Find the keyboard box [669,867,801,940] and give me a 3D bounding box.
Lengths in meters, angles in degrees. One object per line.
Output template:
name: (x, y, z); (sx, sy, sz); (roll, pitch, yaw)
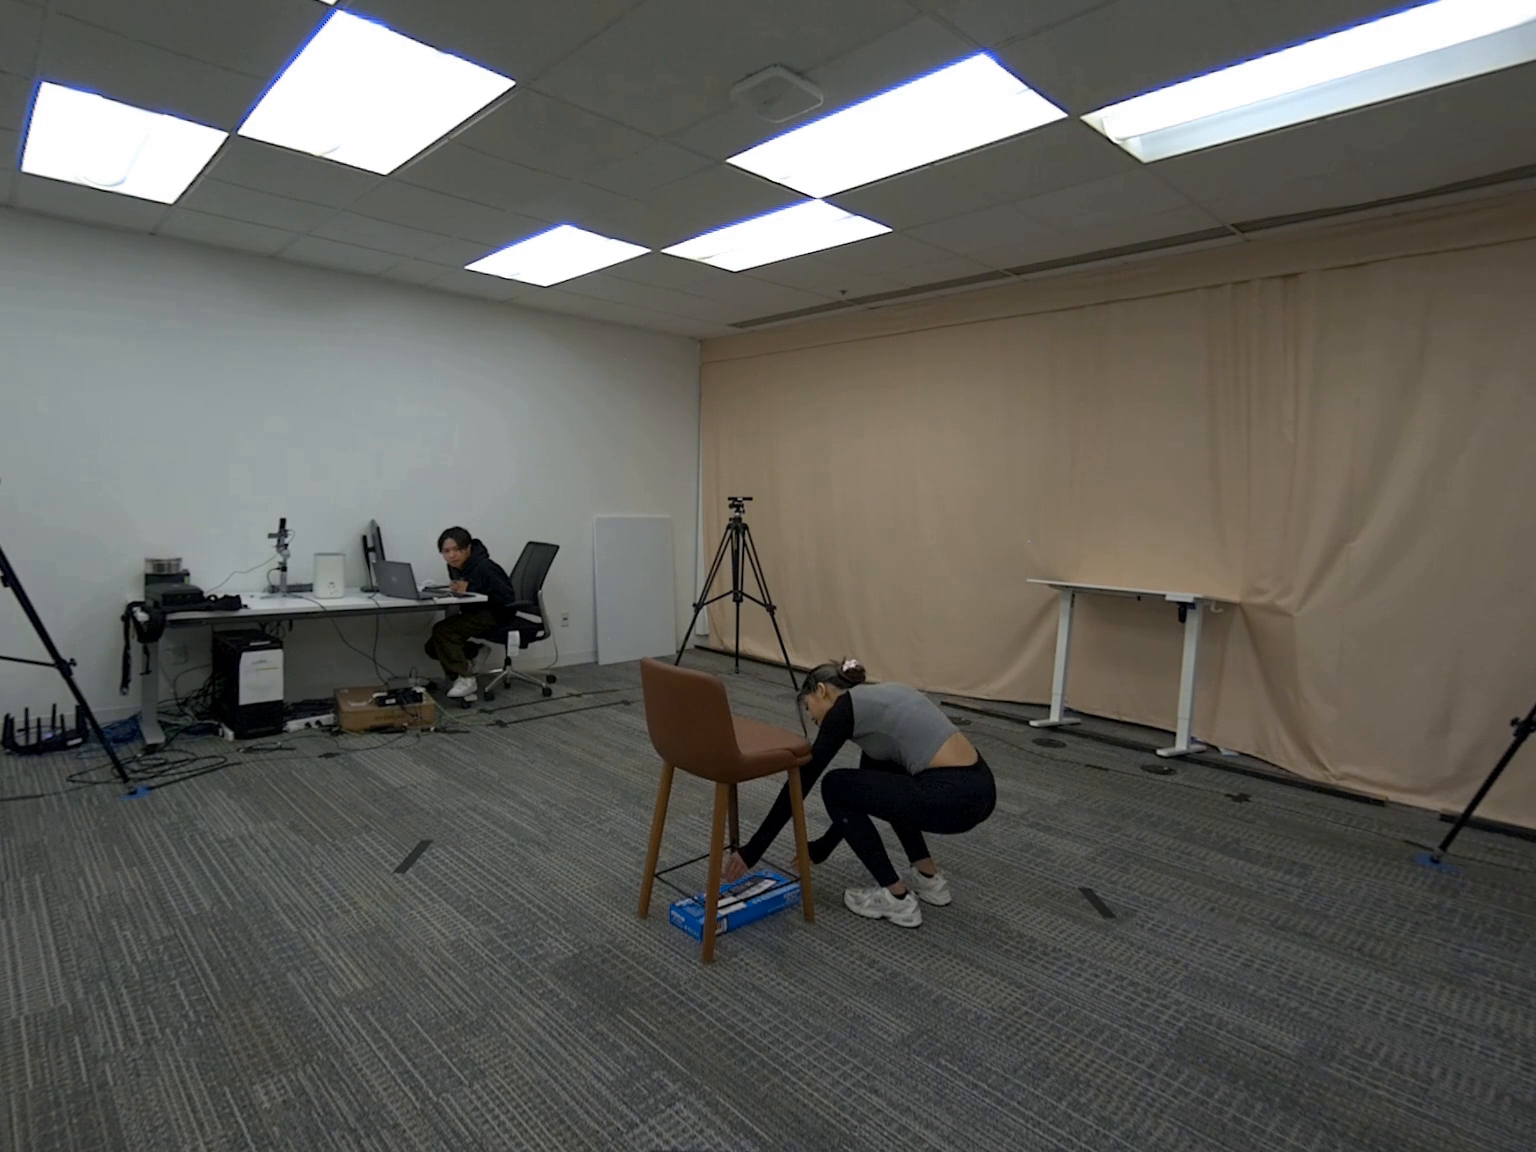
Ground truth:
keyboard box: (-0.106, 1.100, 2.831); (0.427, 0.059, 0.180); (-4, 7, -40)
